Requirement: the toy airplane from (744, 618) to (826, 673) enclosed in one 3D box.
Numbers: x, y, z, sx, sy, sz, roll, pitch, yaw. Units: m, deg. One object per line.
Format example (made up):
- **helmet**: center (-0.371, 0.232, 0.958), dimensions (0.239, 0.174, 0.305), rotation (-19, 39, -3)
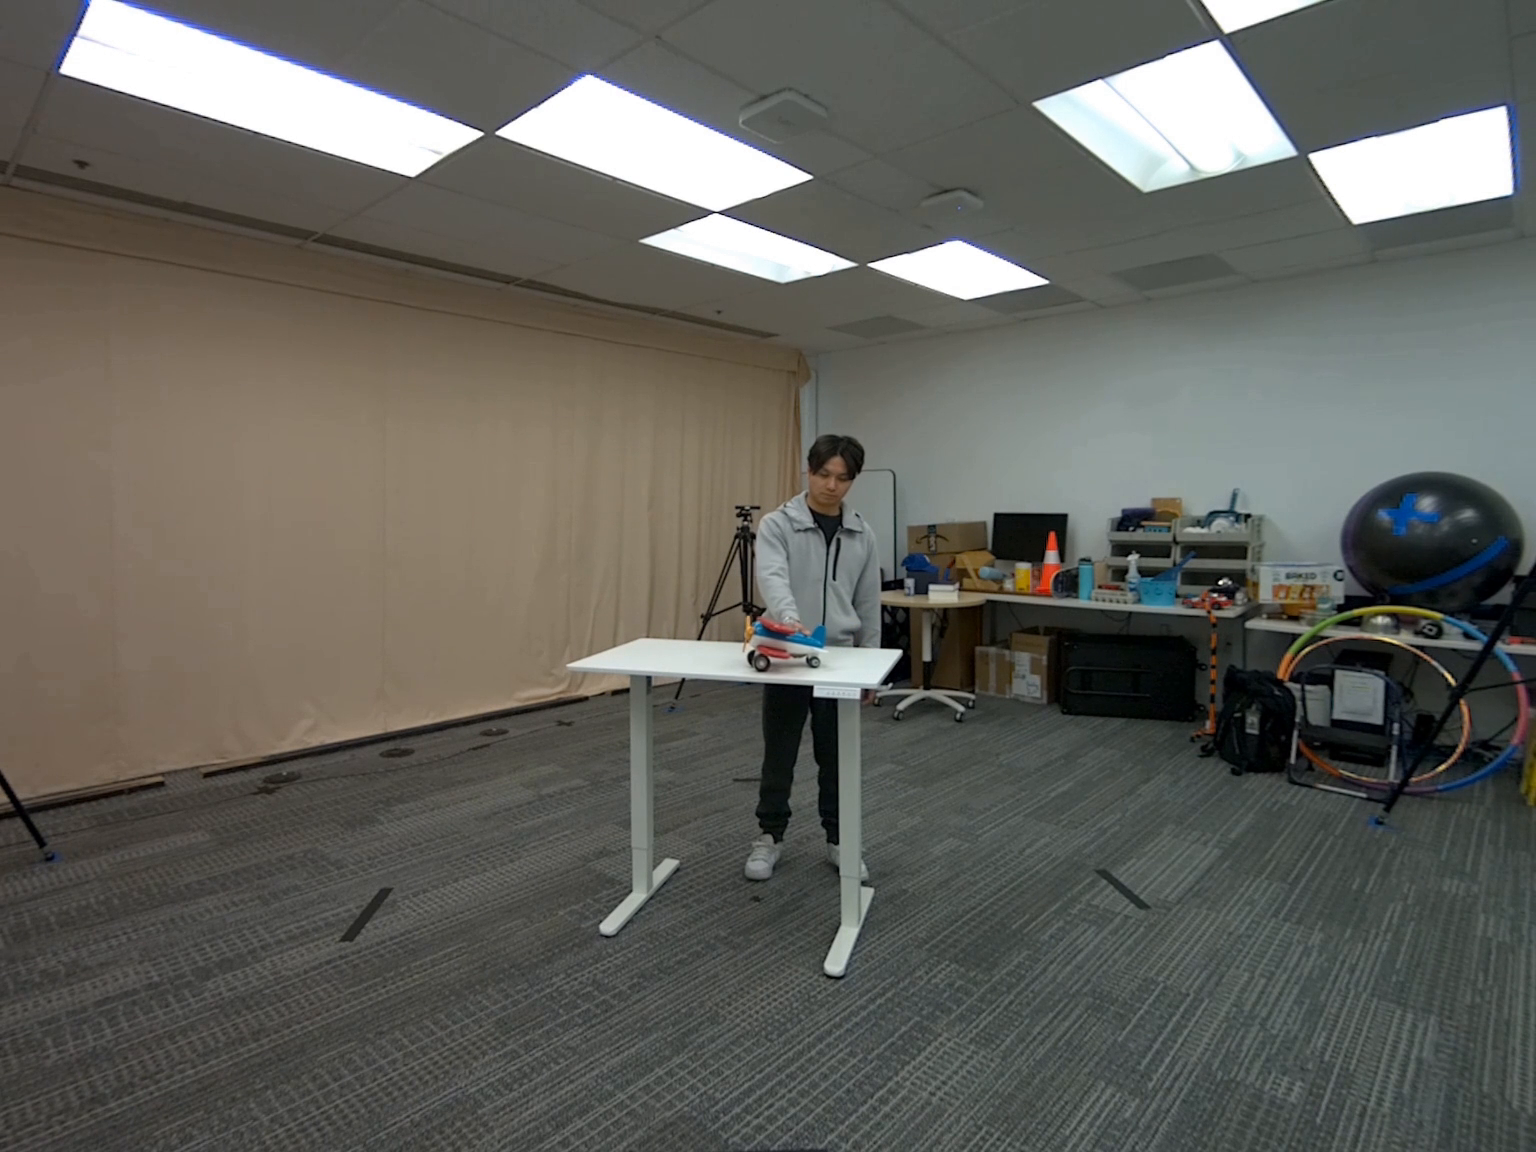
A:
- **toy airplane**: center (0.046, 0.210, 2.653), dimensions (0.252, 0.156, 0.259), rotation (-5, 5, -38)
